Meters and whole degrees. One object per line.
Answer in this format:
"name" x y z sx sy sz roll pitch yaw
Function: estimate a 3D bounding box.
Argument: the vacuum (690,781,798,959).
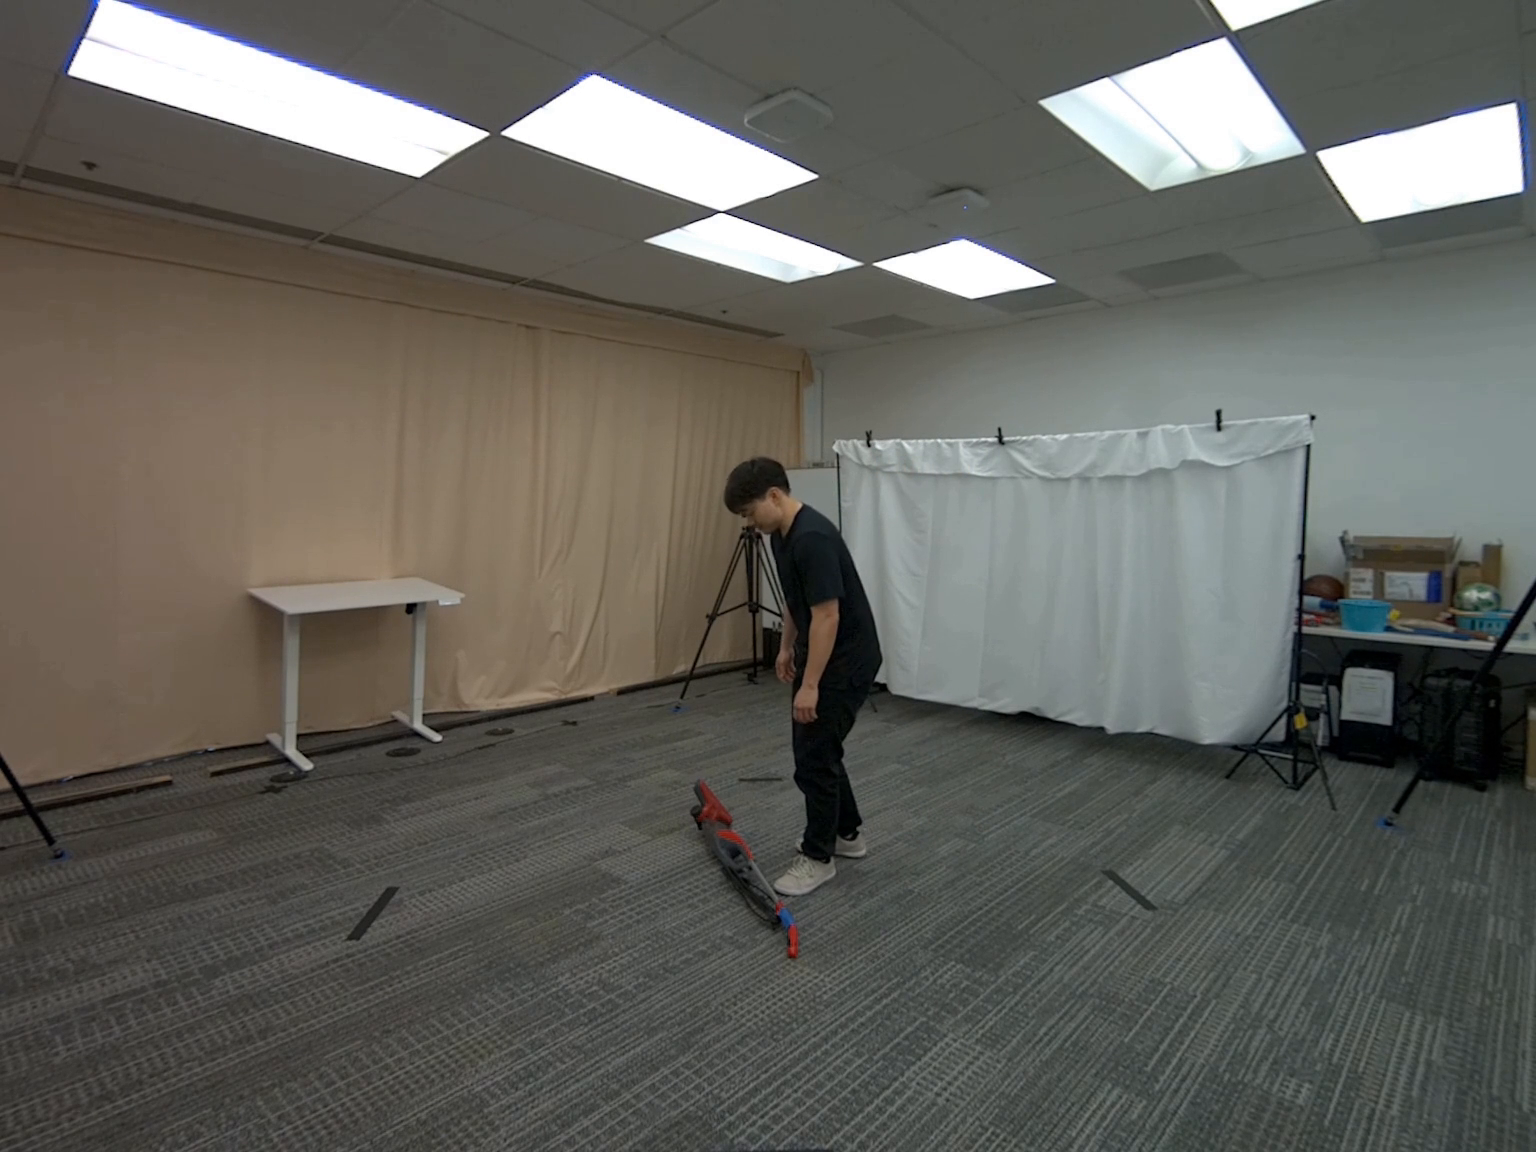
"vacuum" -0.087 1.085 3.102 0.143 0.248 1.072 -38 18 -9
